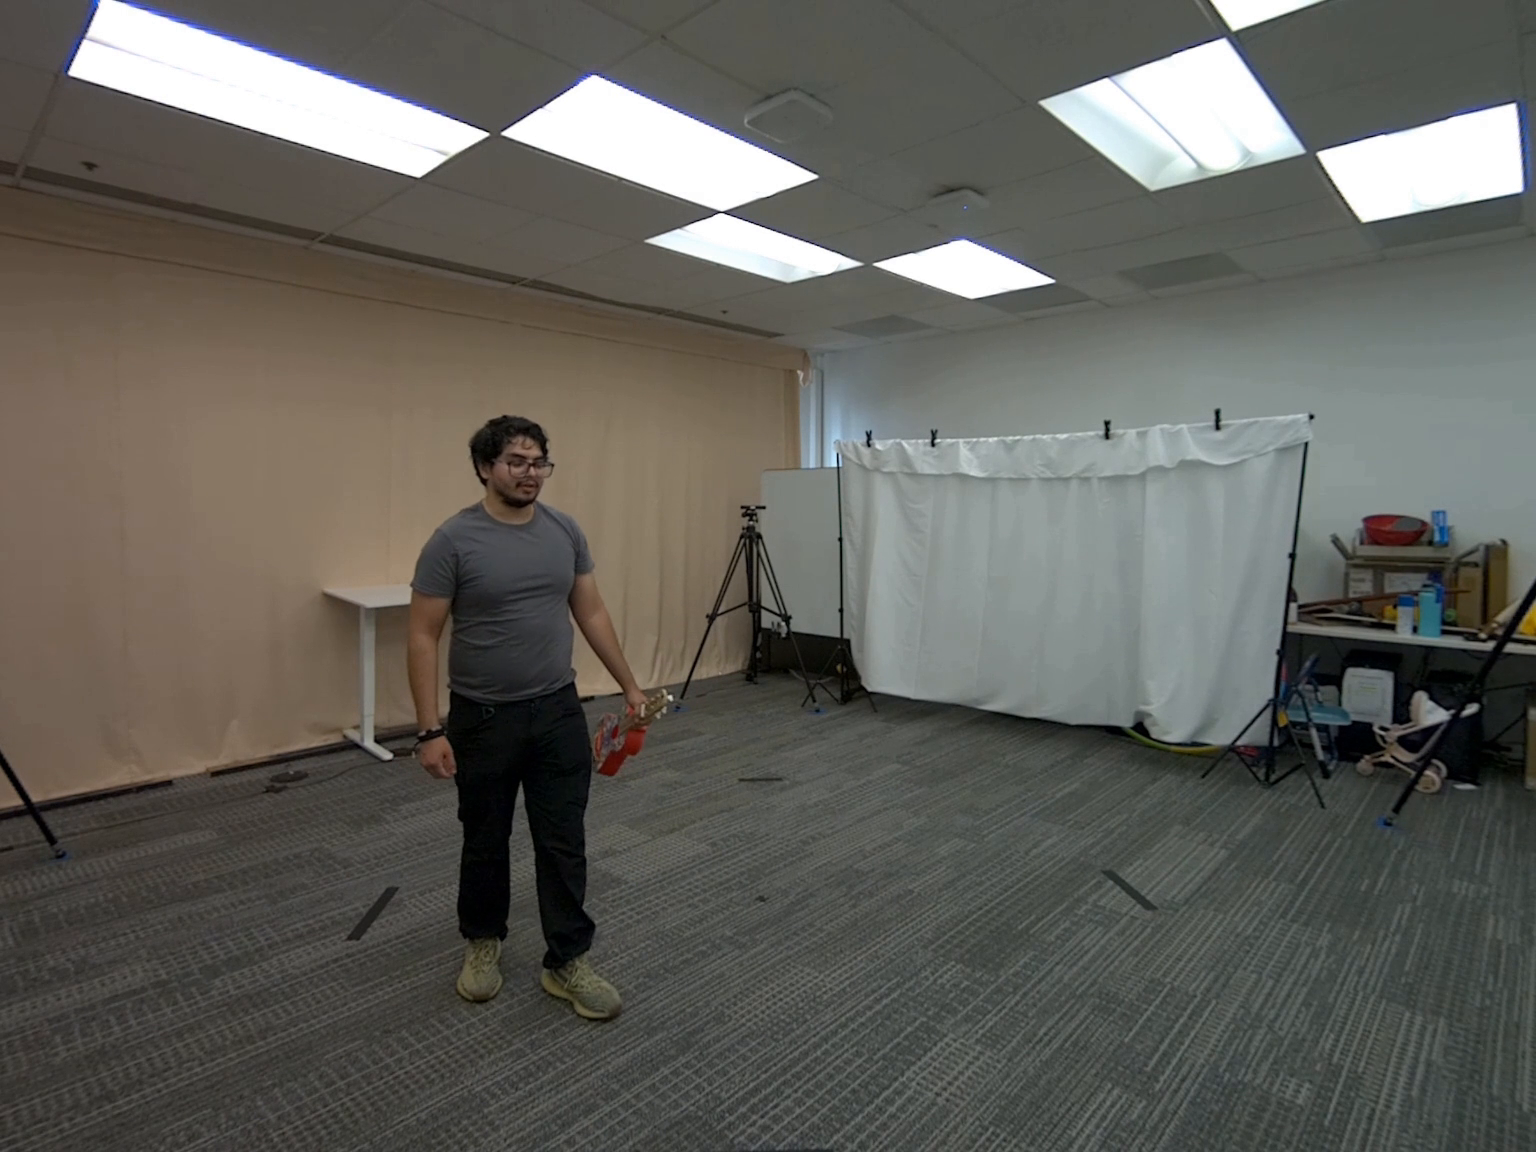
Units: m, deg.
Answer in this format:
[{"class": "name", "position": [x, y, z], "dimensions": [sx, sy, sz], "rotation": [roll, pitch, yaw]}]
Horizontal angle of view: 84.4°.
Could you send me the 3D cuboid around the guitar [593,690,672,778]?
[{"class": "guitar", "position": [-0.409, 0.485, 2.556], "dimensions": [0.069, 0.195, 0.506], "rotation": [19, -28, -26]}]
